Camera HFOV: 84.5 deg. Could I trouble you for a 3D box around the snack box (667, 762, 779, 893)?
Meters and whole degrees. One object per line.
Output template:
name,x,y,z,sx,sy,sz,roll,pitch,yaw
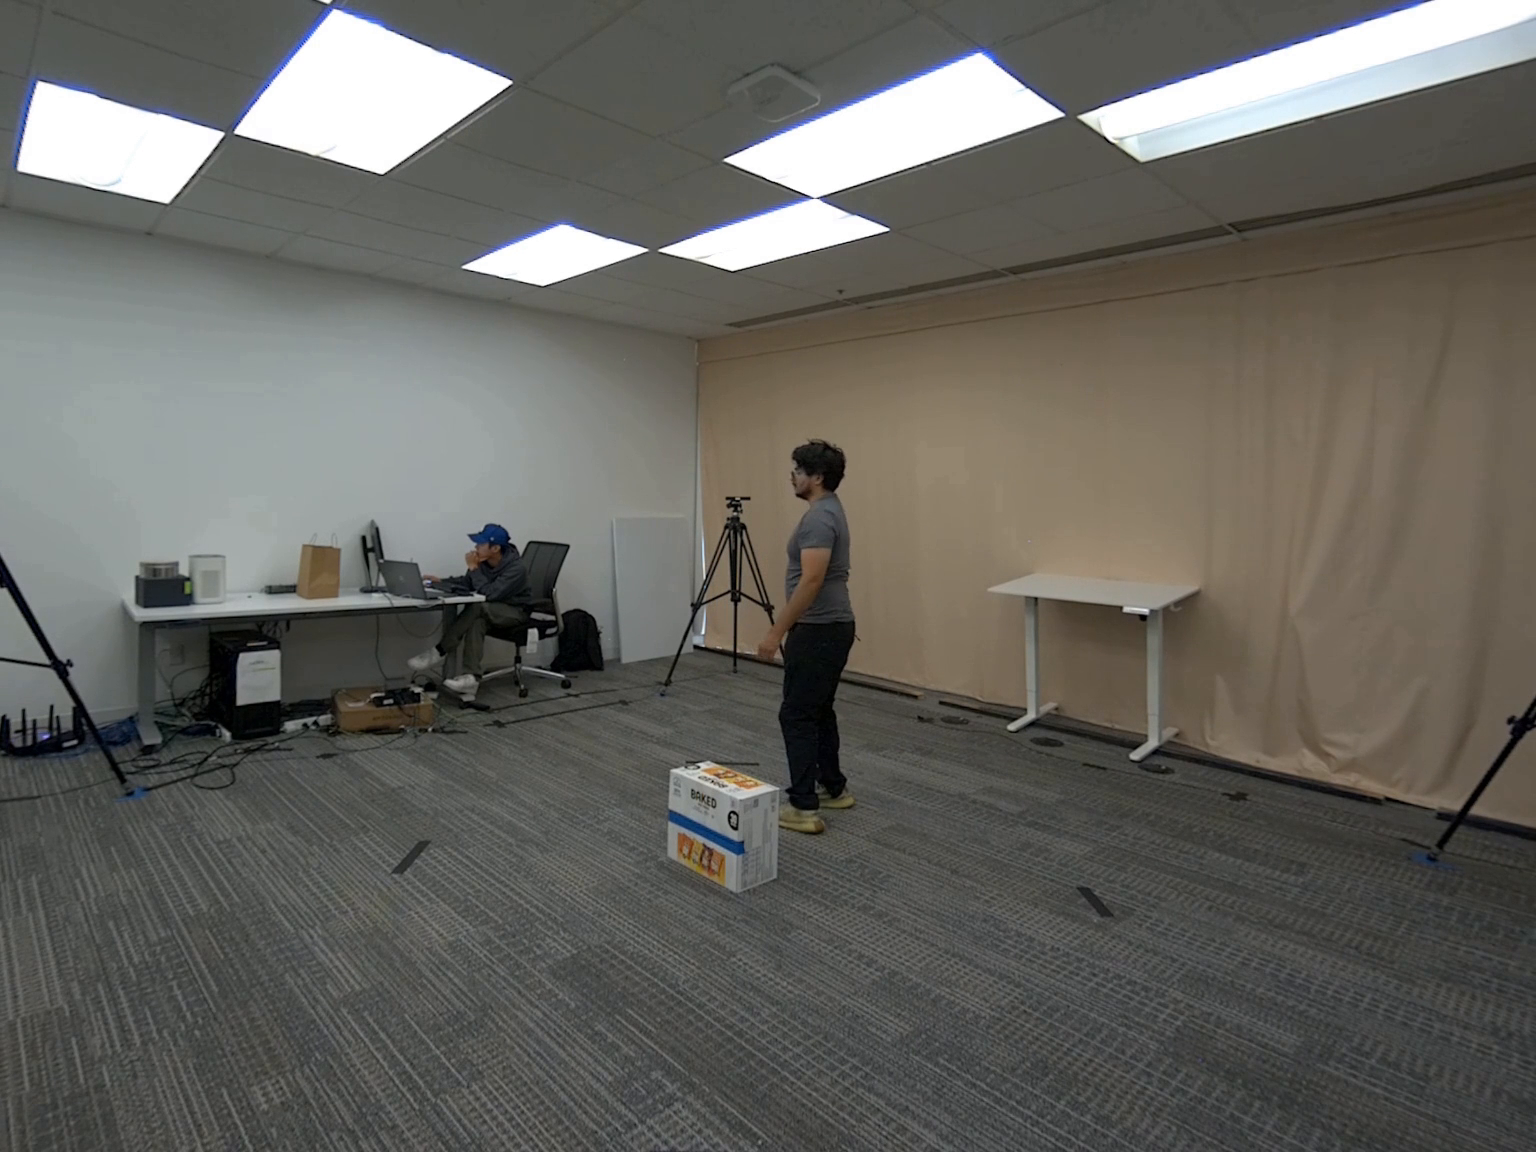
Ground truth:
snack box,-0.178,0.930,3.167,0.201,0.339,0.415,-1,5,-43
